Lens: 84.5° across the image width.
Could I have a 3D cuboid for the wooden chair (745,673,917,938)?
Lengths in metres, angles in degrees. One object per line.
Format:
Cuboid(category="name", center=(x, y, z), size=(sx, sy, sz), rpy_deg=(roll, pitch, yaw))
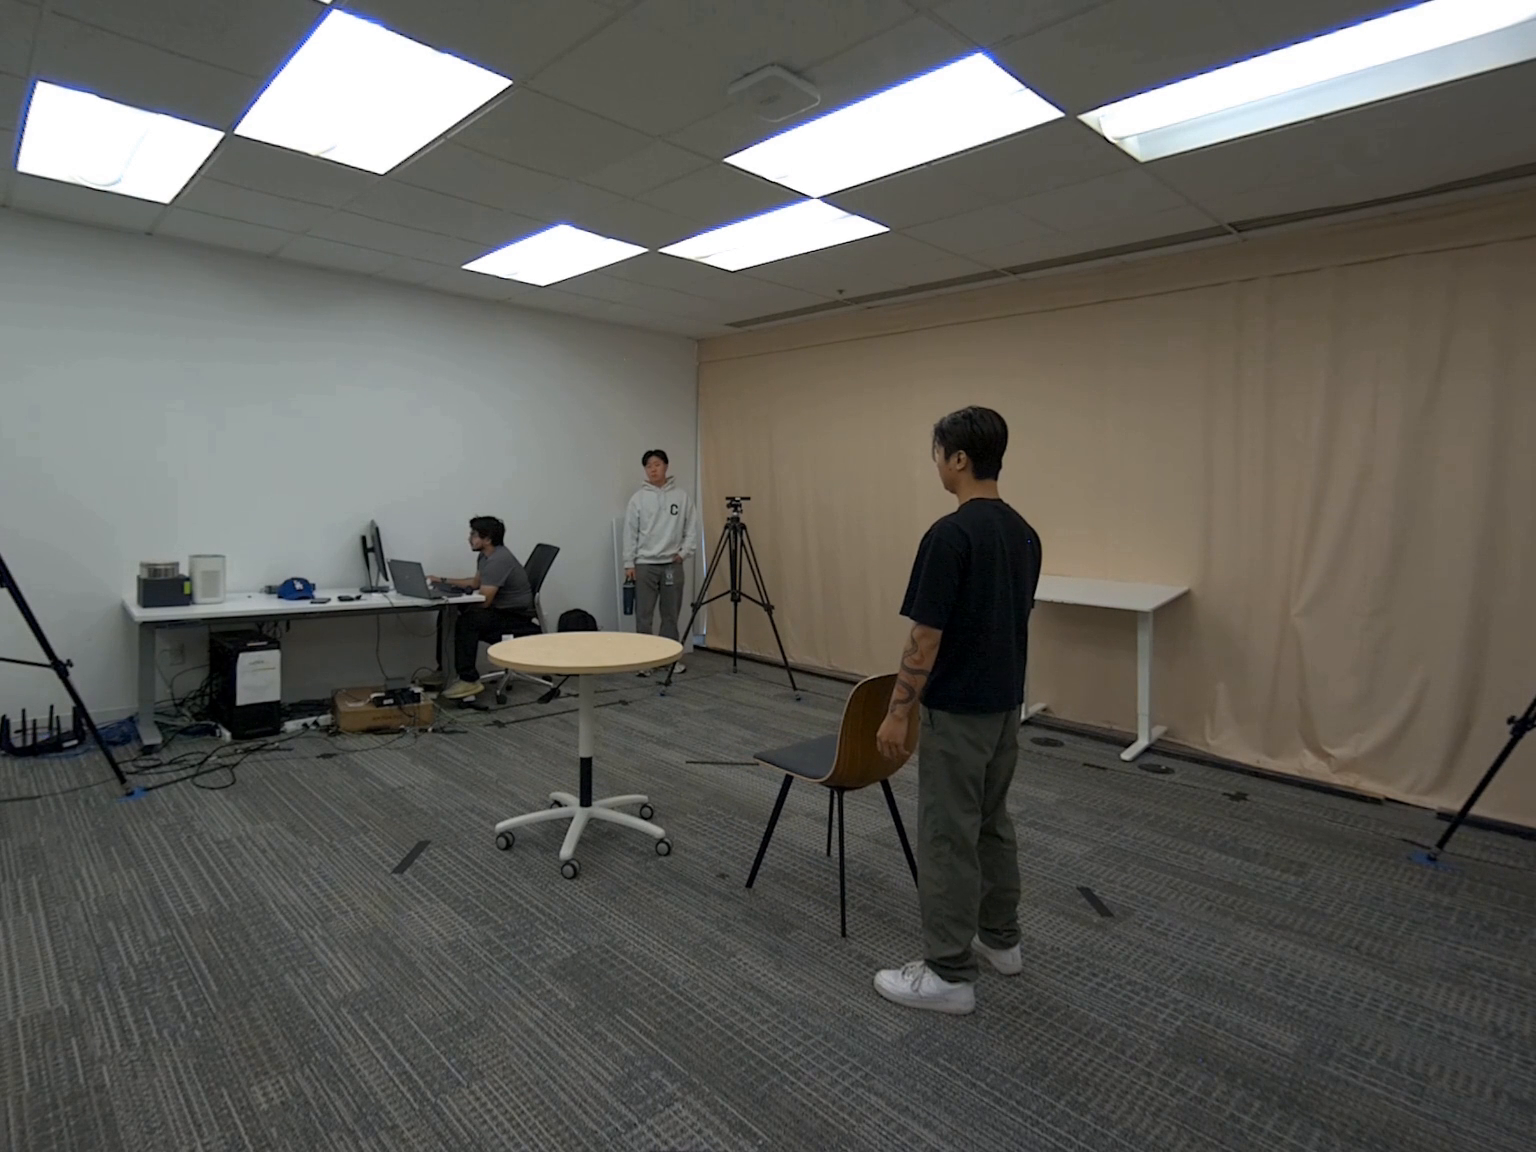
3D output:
Cuboid(category="wooden chair", center=(0.234, 0.701, 2.969), size=(0.467, 0.873, 0.537), rpy_deg=(-2, 9, -44))
